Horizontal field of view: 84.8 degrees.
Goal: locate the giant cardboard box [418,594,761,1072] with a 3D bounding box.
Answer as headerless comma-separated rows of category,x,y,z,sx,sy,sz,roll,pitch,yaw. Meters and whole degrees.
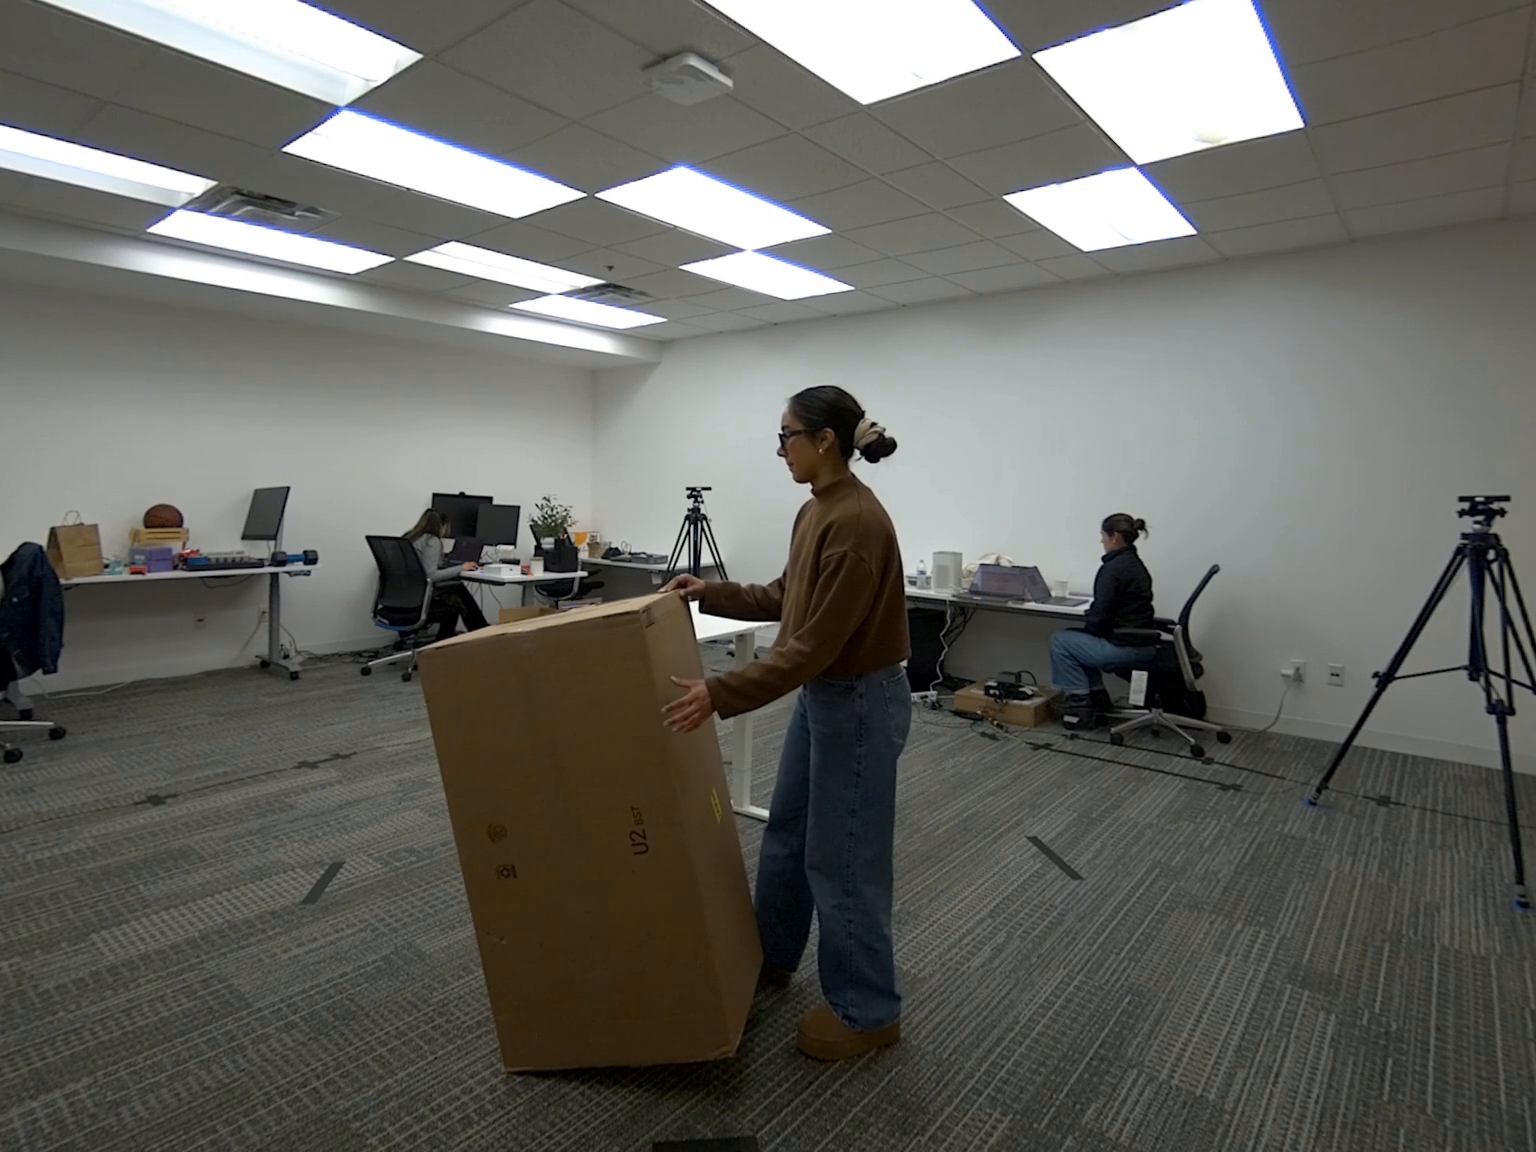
giant cardboard box,-0.438,0.603,2.155,0.584,1.025,0.422,-10,1,12
